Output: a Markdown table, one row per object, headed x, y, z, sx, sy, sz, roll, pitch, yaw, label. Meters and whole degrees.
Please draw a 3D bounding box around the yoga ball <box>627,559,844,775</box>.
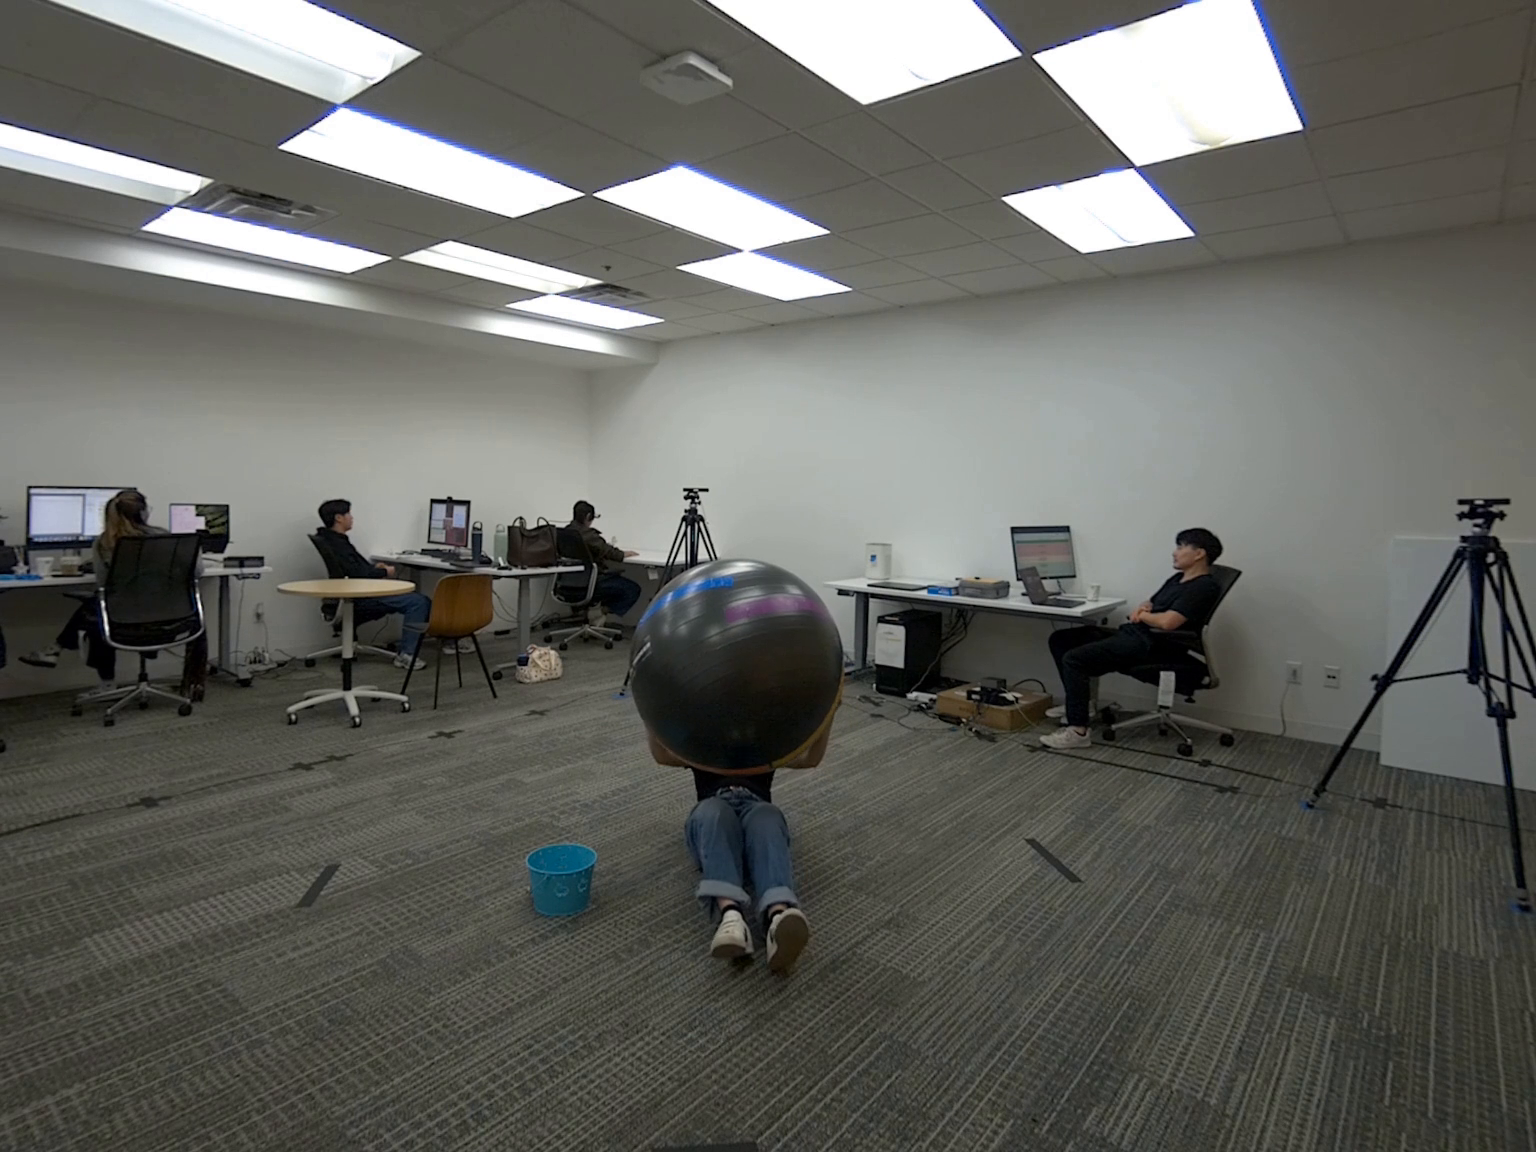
| x | y | z | sx | sy | sz | roll | pitch | yaw | label |
| --- | --- | --- | --- | --- | --- | --- | --- | --- | --- |
| -0.125 | 0.316 | 3.020 | 0.757 | 0.755 | 0.762 | 1 | 4 | -2 | yoga ball |
